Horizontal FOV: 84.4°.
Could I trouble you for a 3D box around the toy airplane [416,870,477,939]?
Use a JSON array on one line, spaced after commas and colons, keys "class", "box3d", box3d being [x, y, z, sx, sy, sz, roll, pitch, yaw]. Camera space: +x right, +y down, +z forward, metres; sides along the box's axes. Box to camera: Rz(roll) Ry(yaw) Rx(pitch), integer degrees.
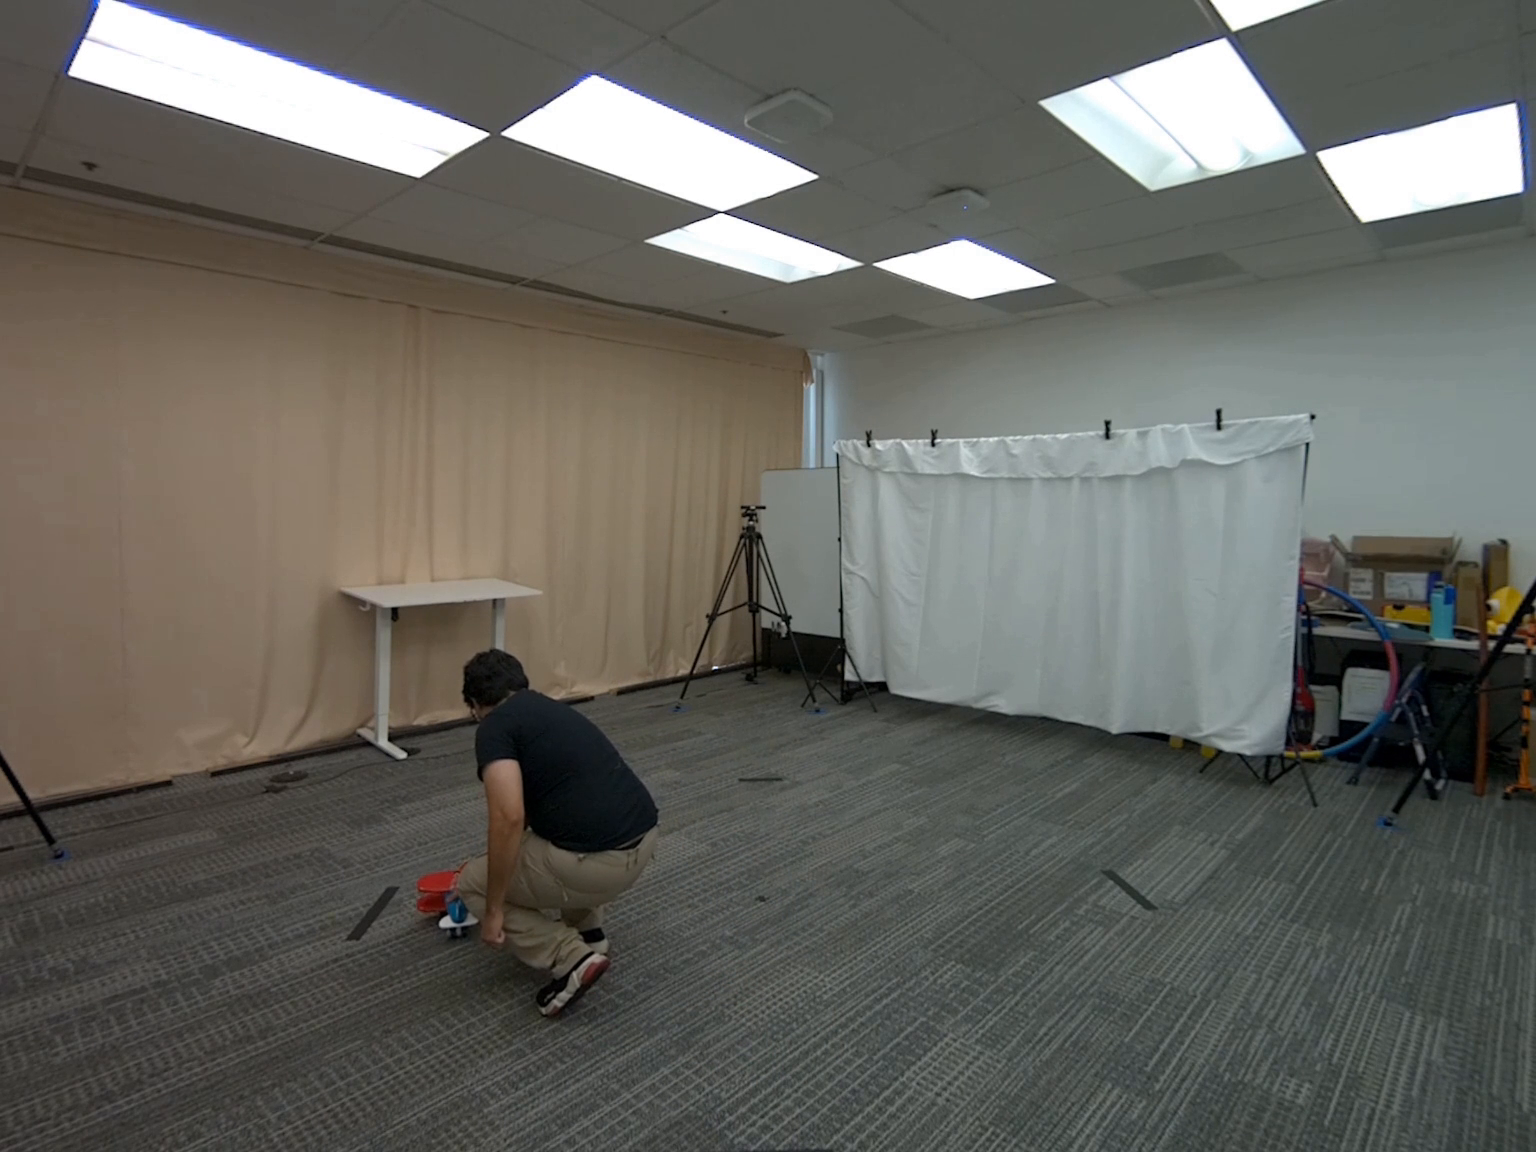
[{"class": "toy airplane", "box3d": [-1.033, 1.092, 2.822, 0.268, 0.156, 0.243, 5, 4, 42]}]
